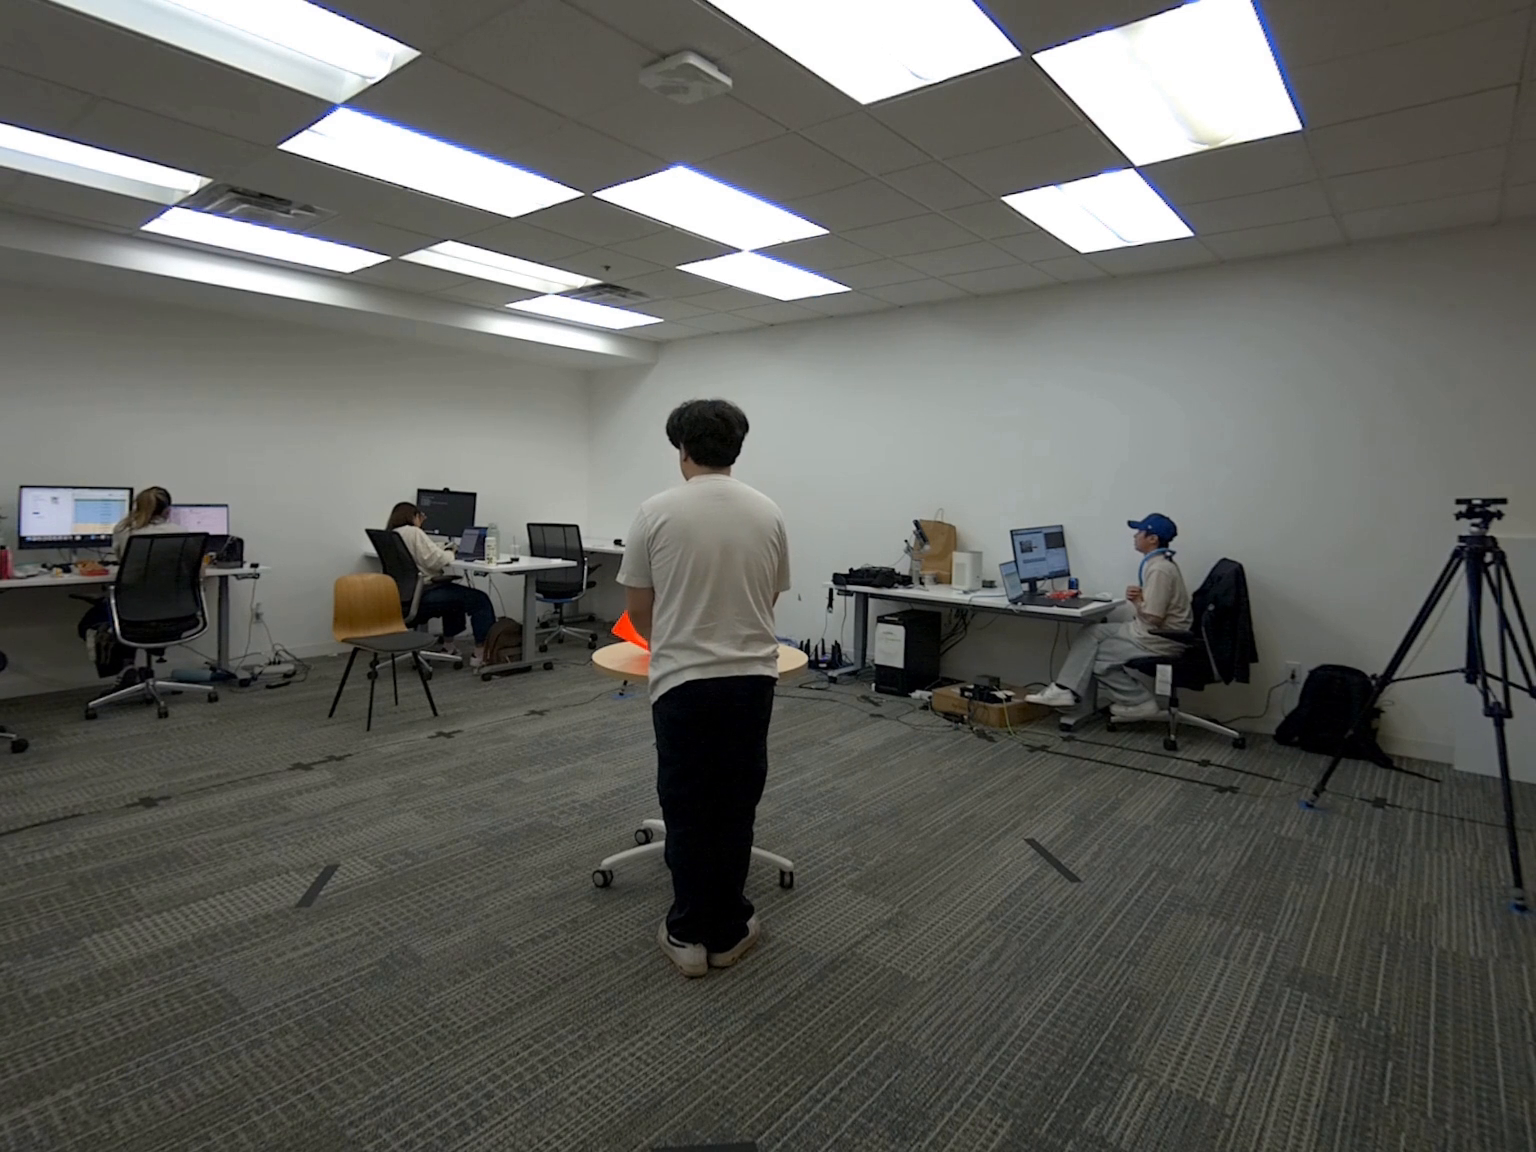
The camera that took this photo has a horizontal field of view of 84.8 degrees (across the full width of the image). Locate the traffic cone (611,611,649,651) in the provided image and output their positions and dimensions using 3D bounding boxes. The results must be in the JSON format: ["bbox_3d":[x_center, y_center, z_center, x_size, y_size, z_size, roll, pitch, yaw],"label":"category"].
[{"bbox_3d":[-0.334,0.232,2.853,0.197,0.203,0.400,32,3,-38],"label":"traffic cone"}]
